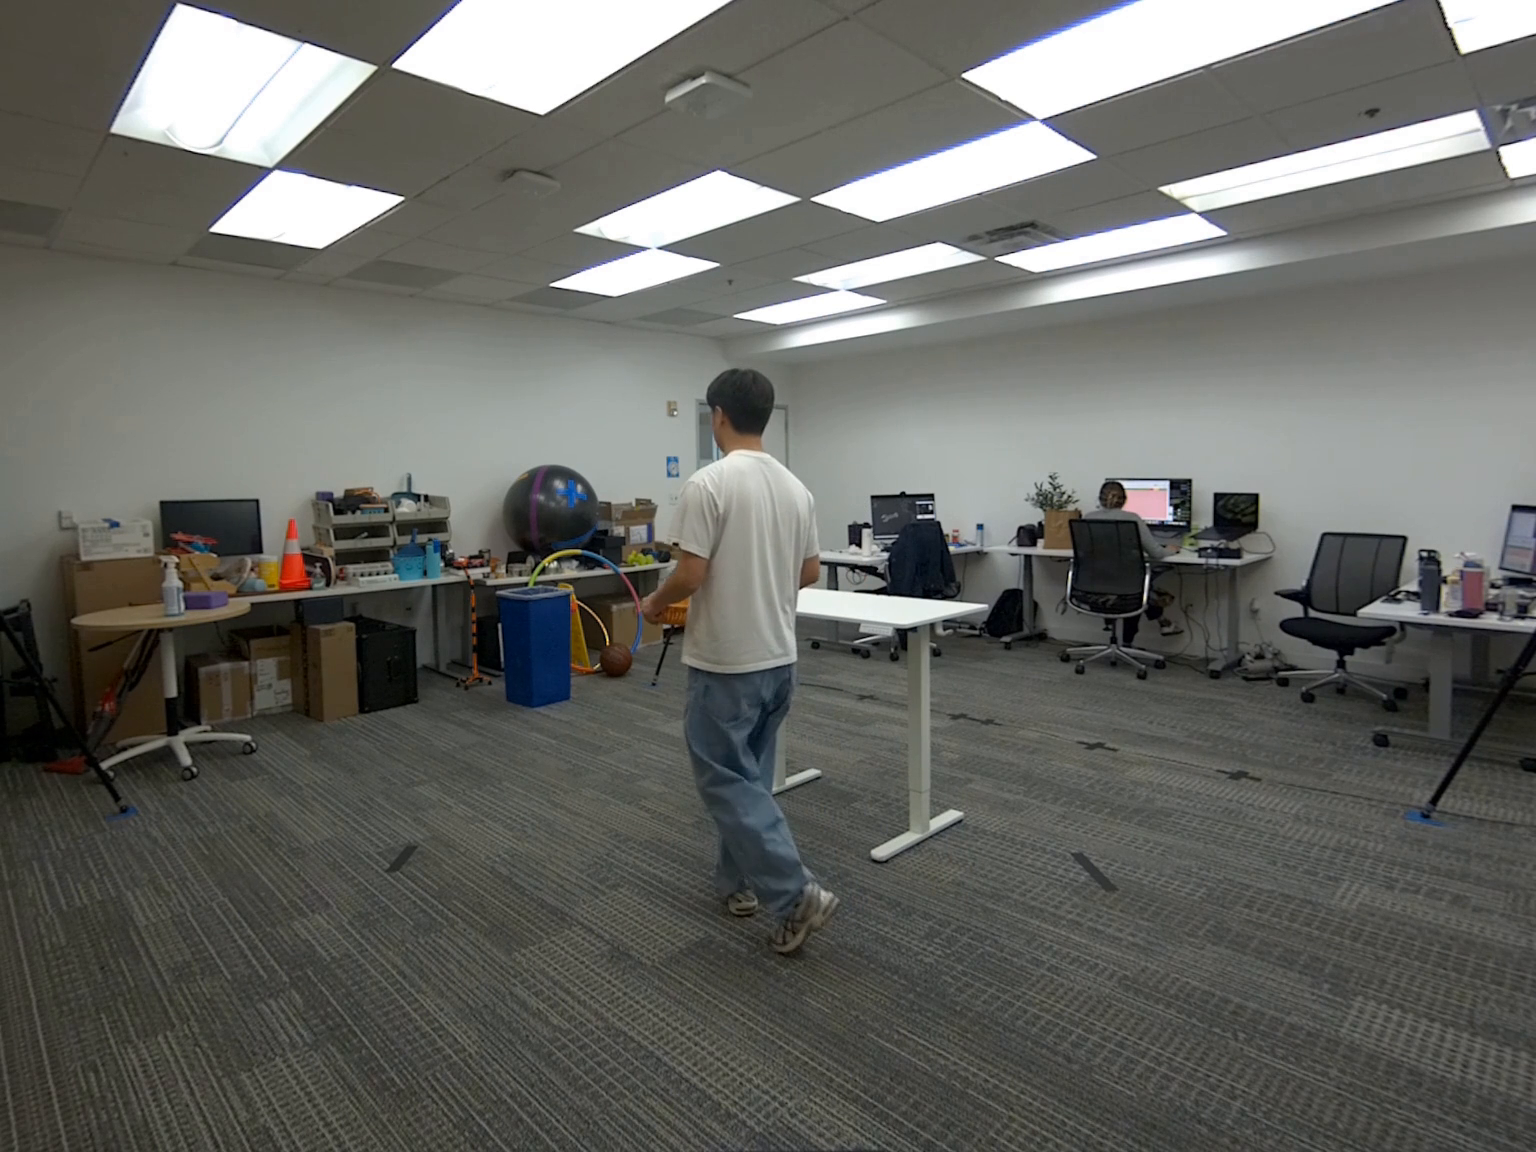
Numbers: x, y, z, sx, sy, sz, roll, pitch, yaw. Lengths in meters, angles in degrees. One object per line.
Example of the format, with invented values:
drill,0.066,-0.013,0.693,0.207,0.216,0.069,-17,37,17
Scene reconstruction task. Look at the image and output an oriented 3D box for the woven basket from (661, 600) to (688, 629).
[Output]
woven basket,-0.220,0.128,2.870,0.341,0.073,0.260,0,6,-36
